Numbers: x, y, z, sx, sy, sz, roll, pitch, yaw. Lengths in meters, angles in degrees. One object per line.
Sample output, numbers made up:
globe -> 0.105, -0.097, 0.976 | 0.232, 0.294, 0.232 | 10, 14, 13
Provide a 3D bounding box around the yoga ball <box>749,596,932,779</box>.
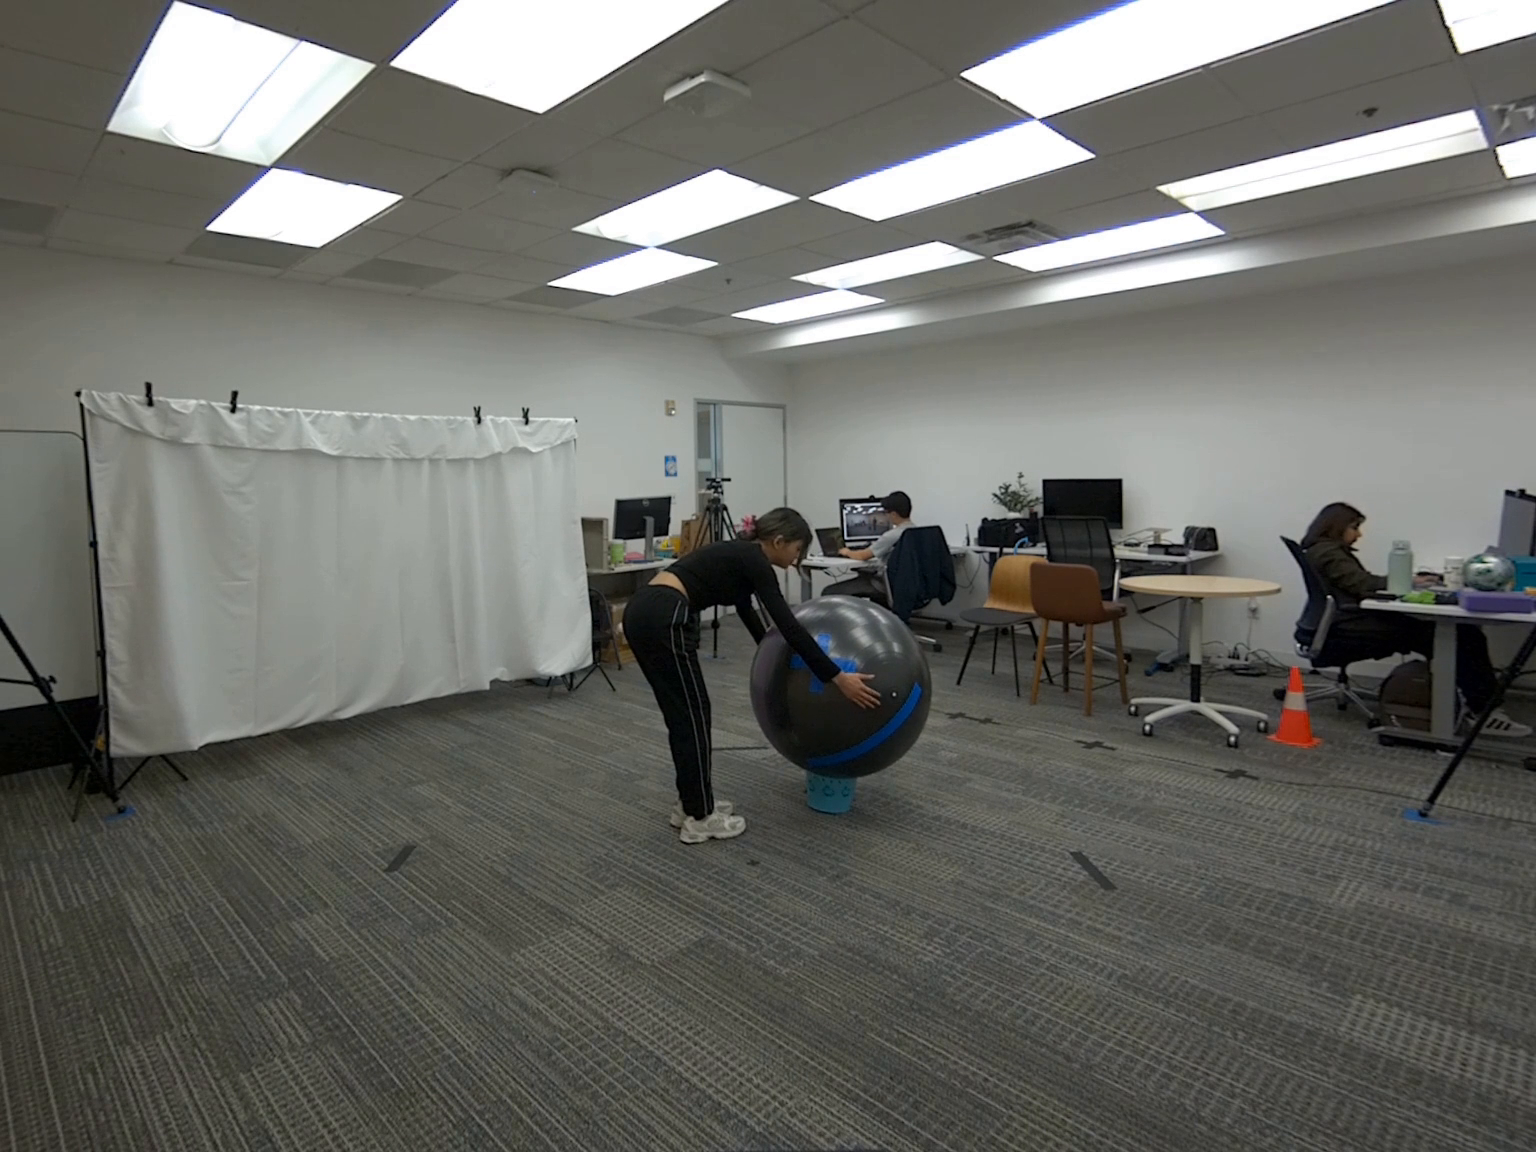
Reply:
yoga ball -> 0.302, 0.463, 3.607 | 0.757, 0.755, 0.762 | -1, 5, -2
